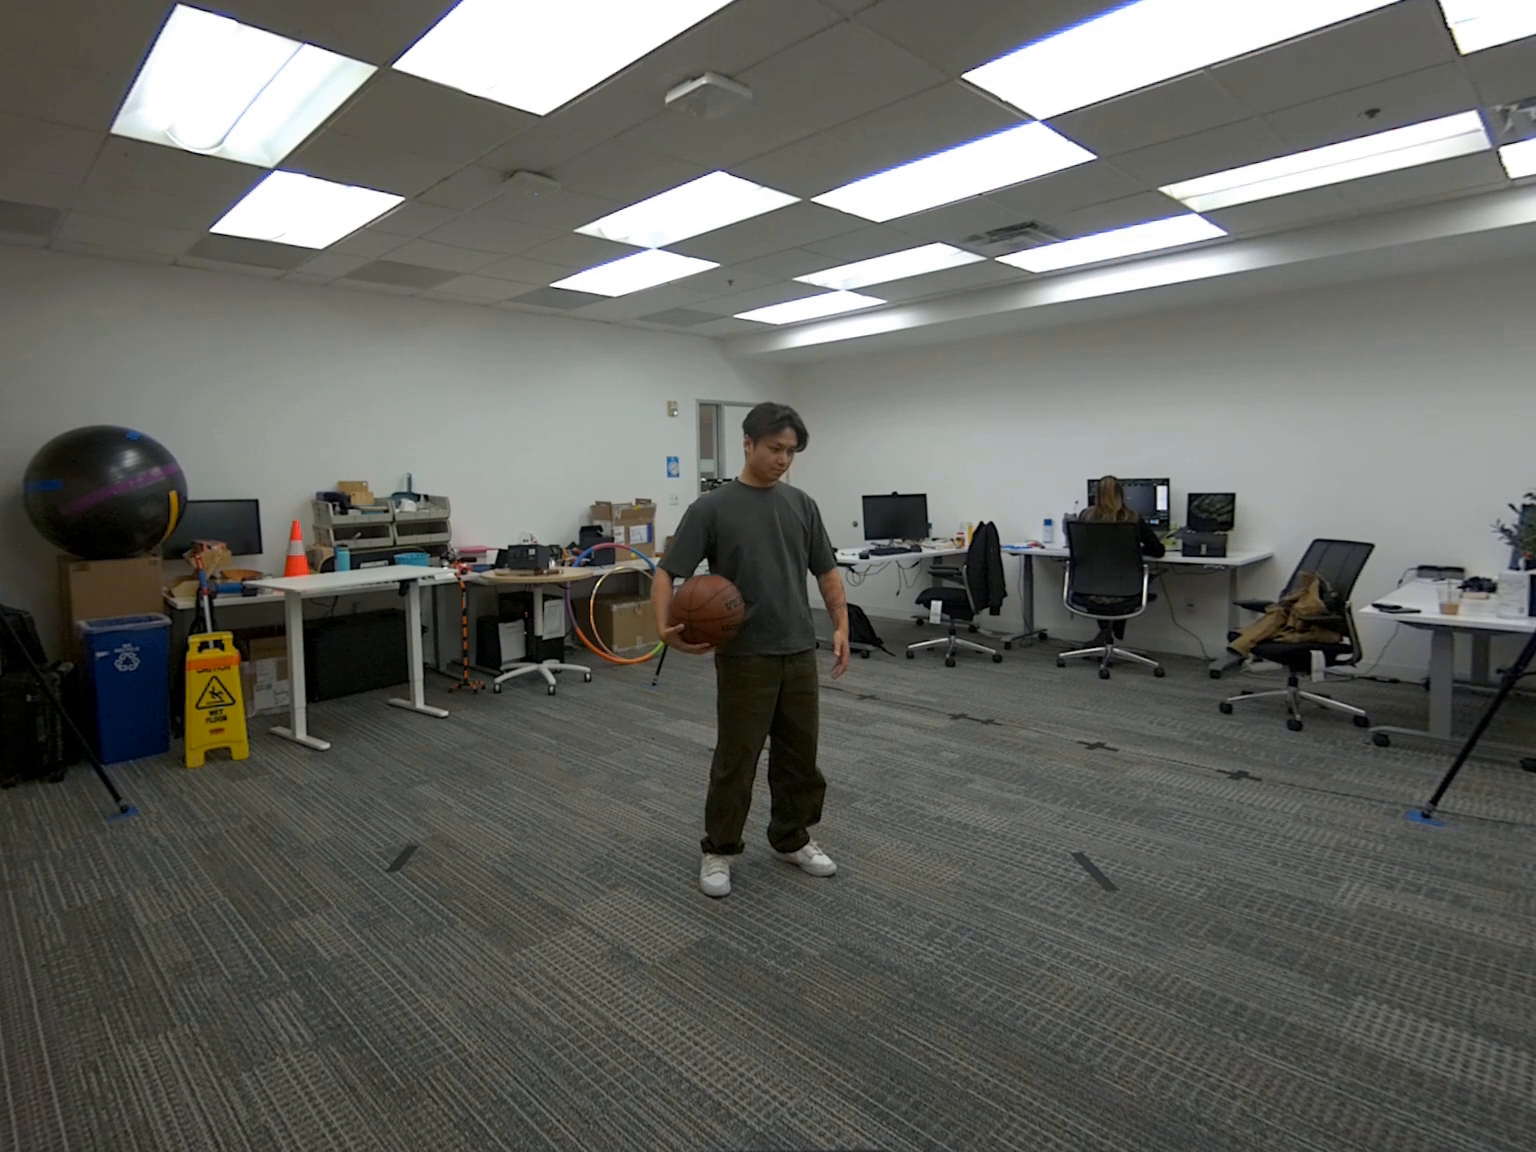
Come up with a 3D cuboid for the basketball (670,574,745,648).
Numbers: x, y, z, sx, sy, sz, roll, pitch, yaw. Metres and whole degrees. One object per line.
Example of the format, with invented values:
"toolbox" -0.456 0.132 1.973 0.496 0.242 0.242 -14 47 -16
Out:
"basketball" -0.190 0.110 2.759 0.236 0.235 0.237 -1 5 -2
